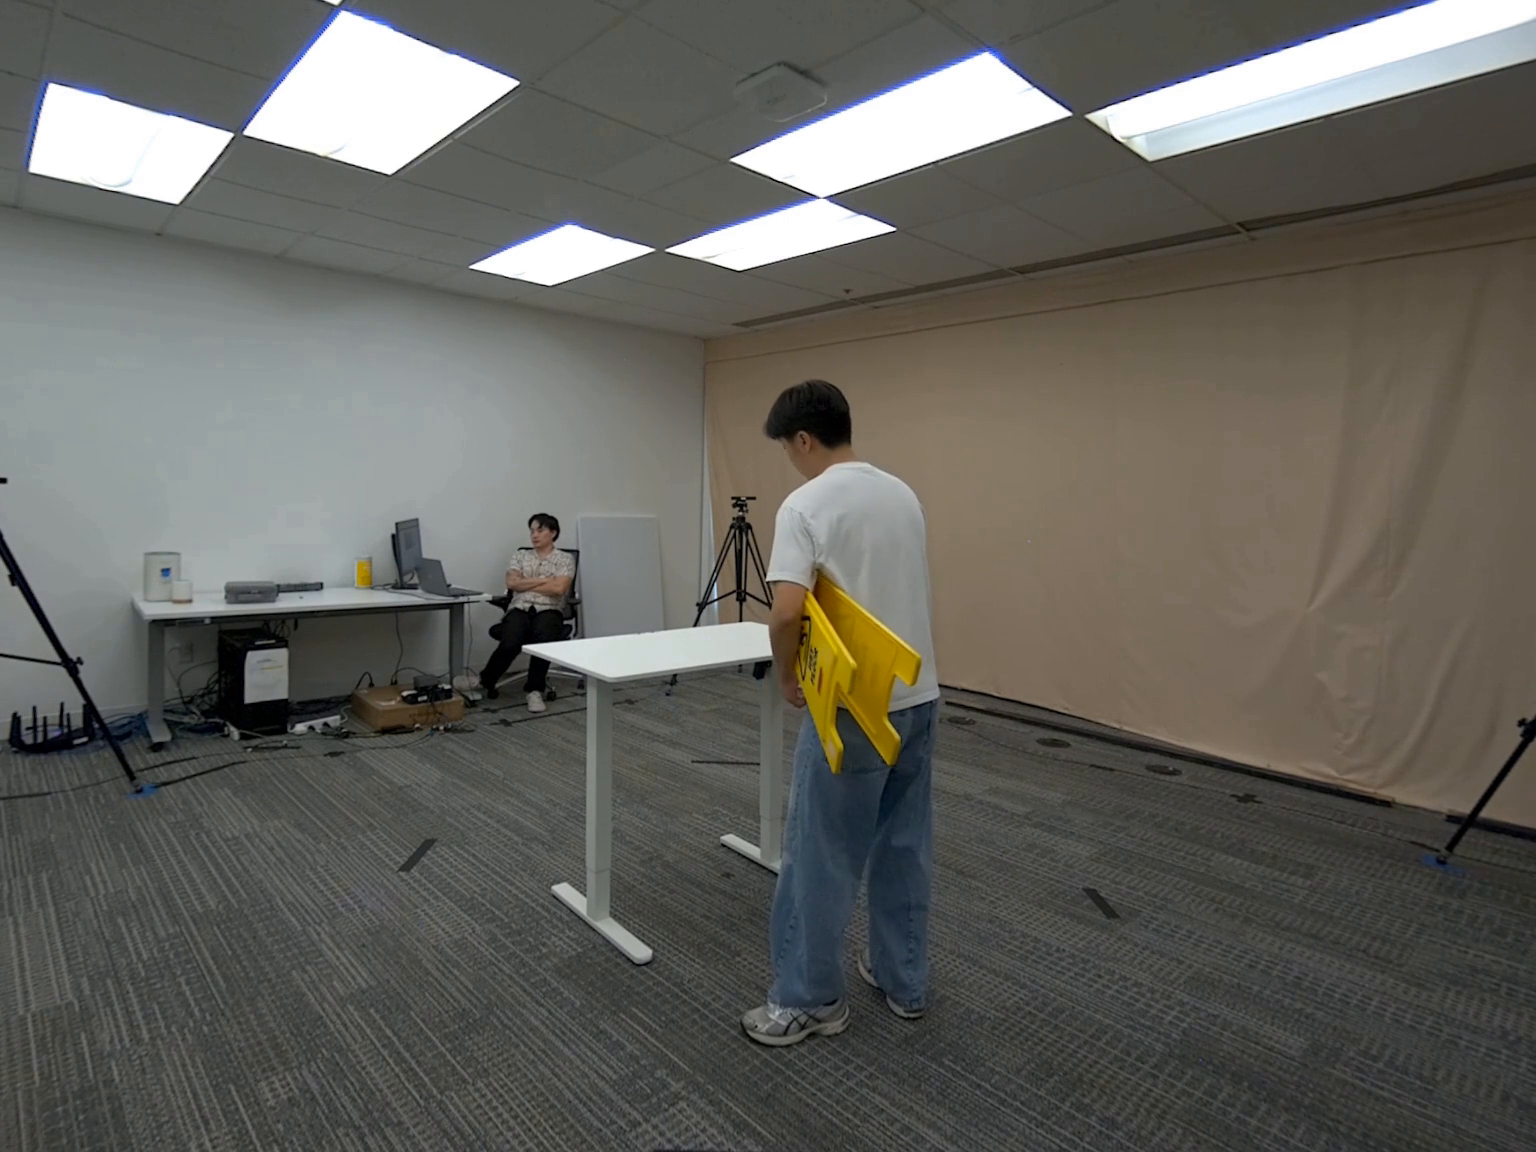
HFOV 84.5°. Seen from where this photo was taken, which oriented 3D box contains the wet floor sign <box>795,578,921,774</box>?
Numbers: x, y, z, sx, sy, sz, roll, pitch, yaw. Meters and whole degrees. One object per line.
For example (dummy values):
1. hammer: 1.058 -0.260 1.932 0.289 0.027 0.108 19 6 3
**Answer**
1. wet floor sign: 0.127 0.178 2.075 0.286 0.278 0.663 -2 24 -17
